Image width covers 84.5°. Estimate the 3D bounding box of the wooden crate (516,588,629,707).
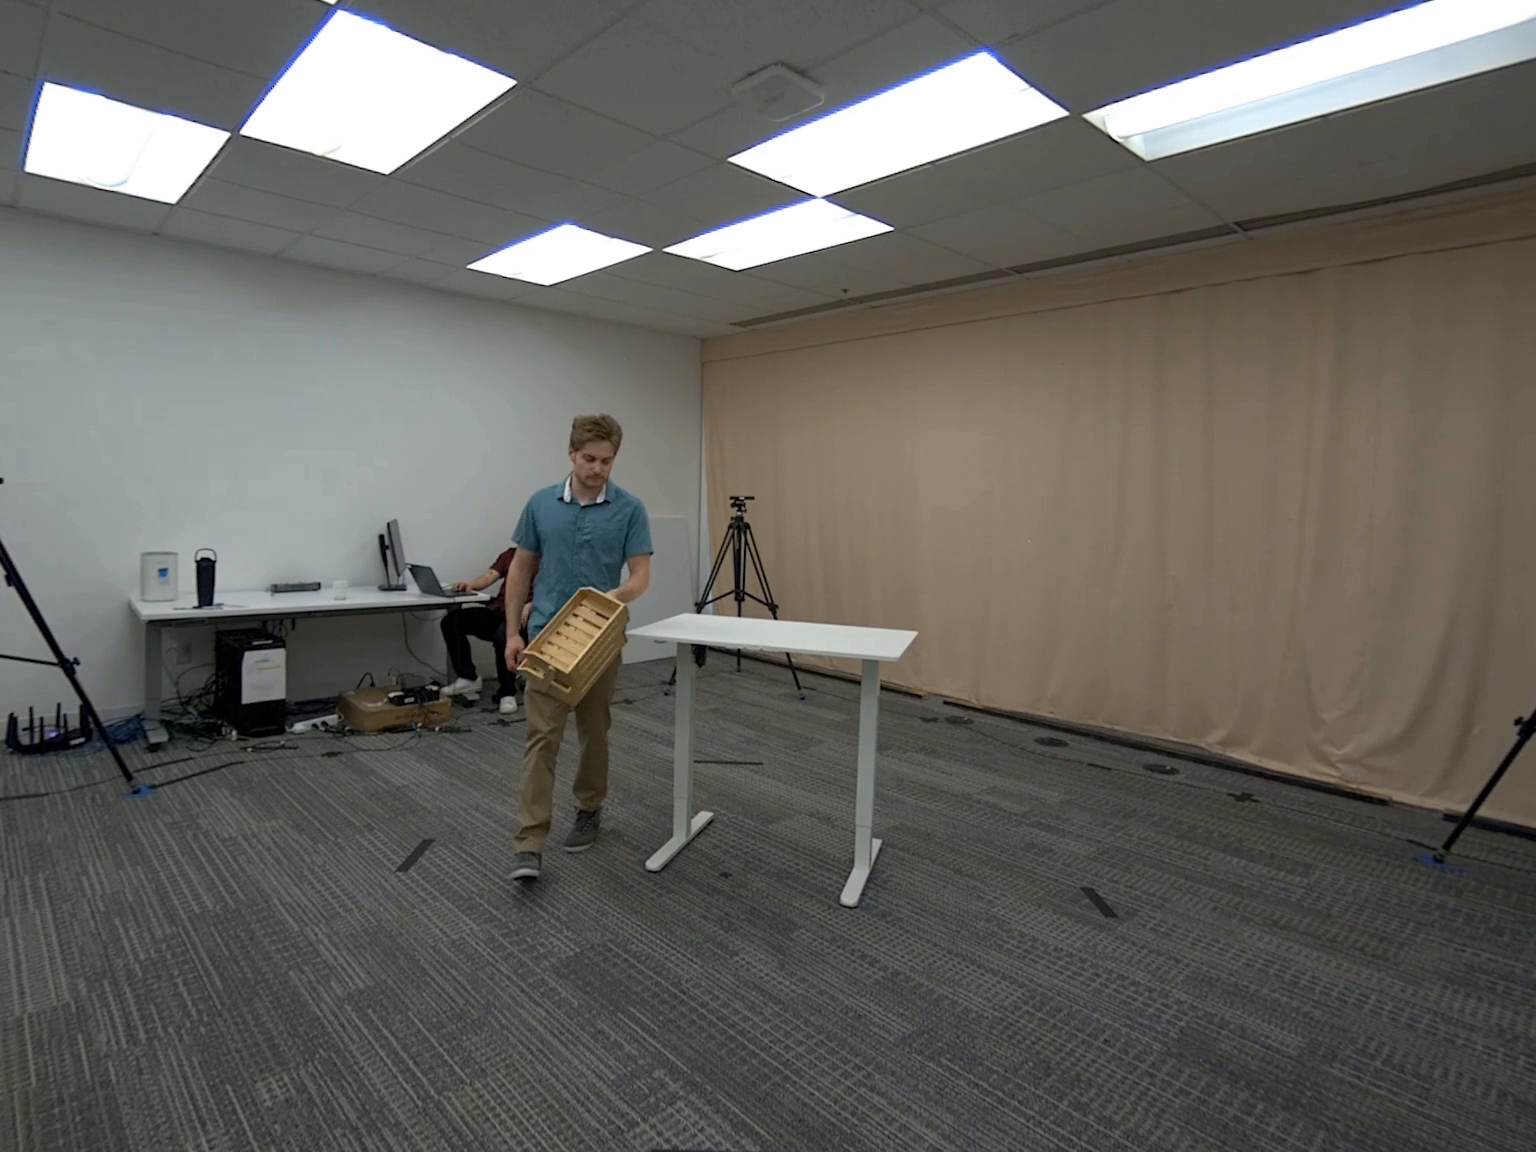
[{"bbox_3d":[-0.676,0.219,2.842,0.308,0.325,0.267,22,-34,20],"label":"wooden crate"}]
